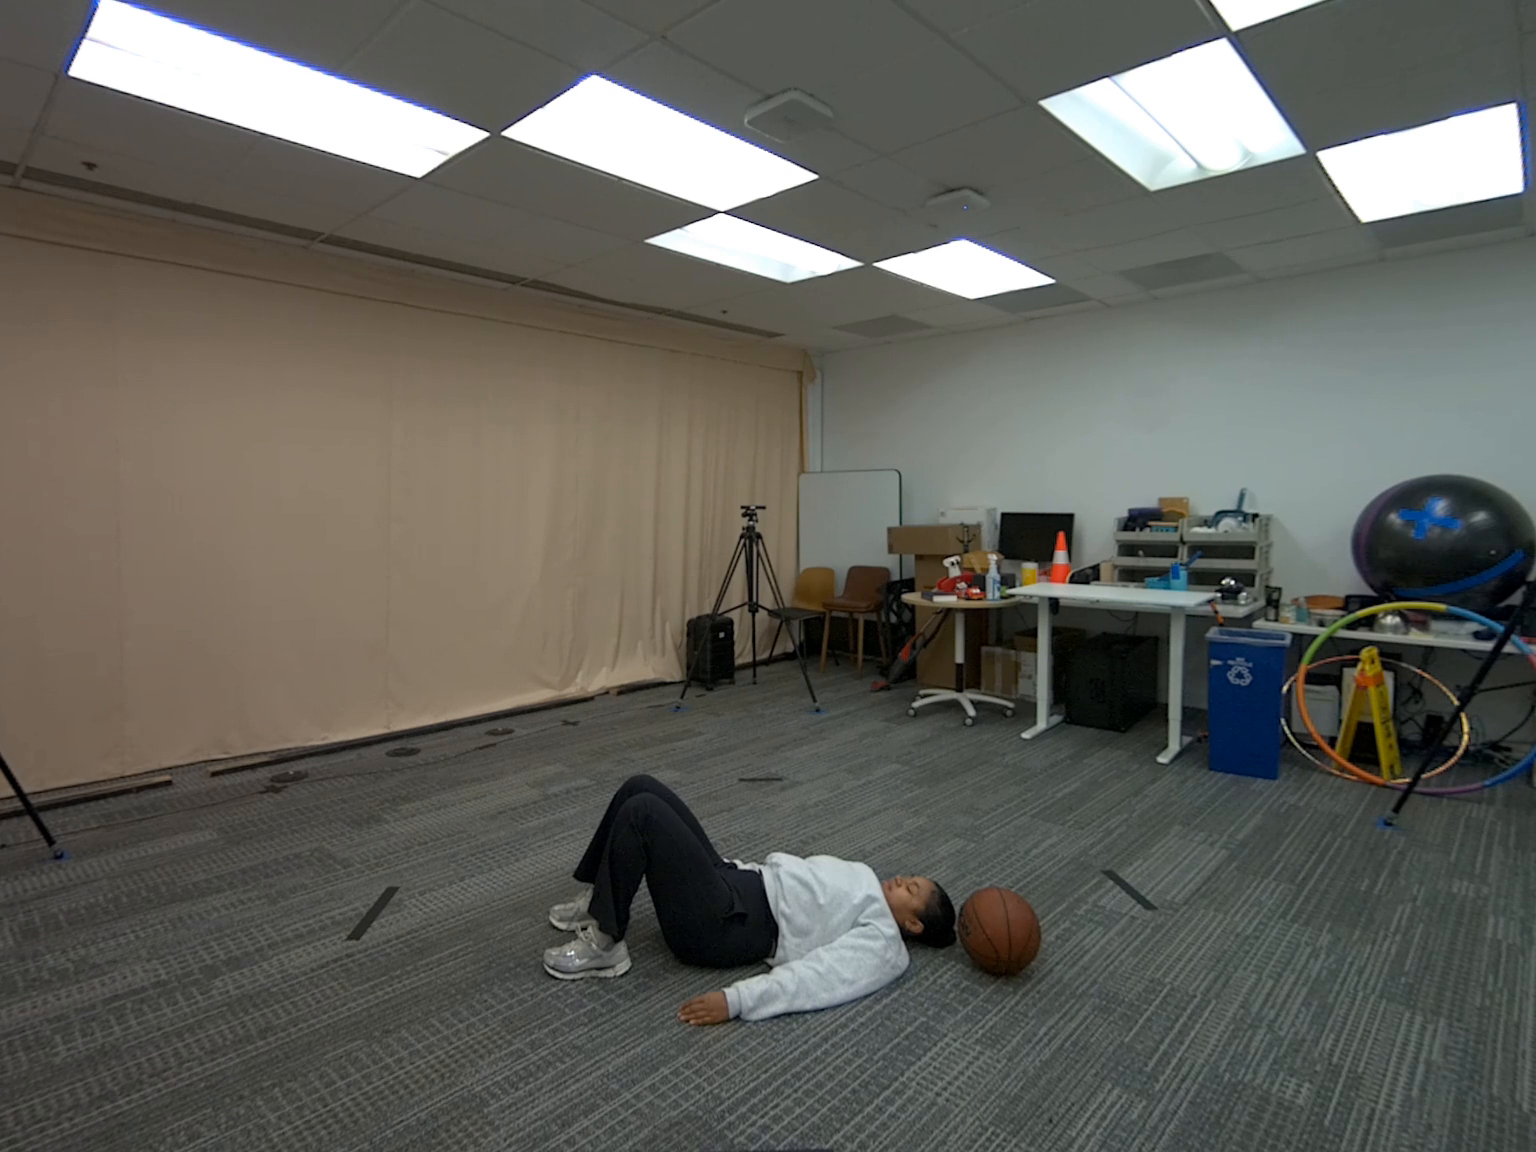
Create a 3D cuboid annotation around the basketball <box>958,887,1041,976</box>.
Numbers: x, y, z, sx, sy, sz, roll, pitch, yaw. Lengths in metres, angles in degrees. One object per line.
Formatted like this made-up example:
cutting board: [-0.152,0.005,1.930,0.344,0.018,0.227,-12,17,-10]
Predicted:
basketball: [0.698,1.057,2.523,0.236,0.235,0.237,0,4,-2]
